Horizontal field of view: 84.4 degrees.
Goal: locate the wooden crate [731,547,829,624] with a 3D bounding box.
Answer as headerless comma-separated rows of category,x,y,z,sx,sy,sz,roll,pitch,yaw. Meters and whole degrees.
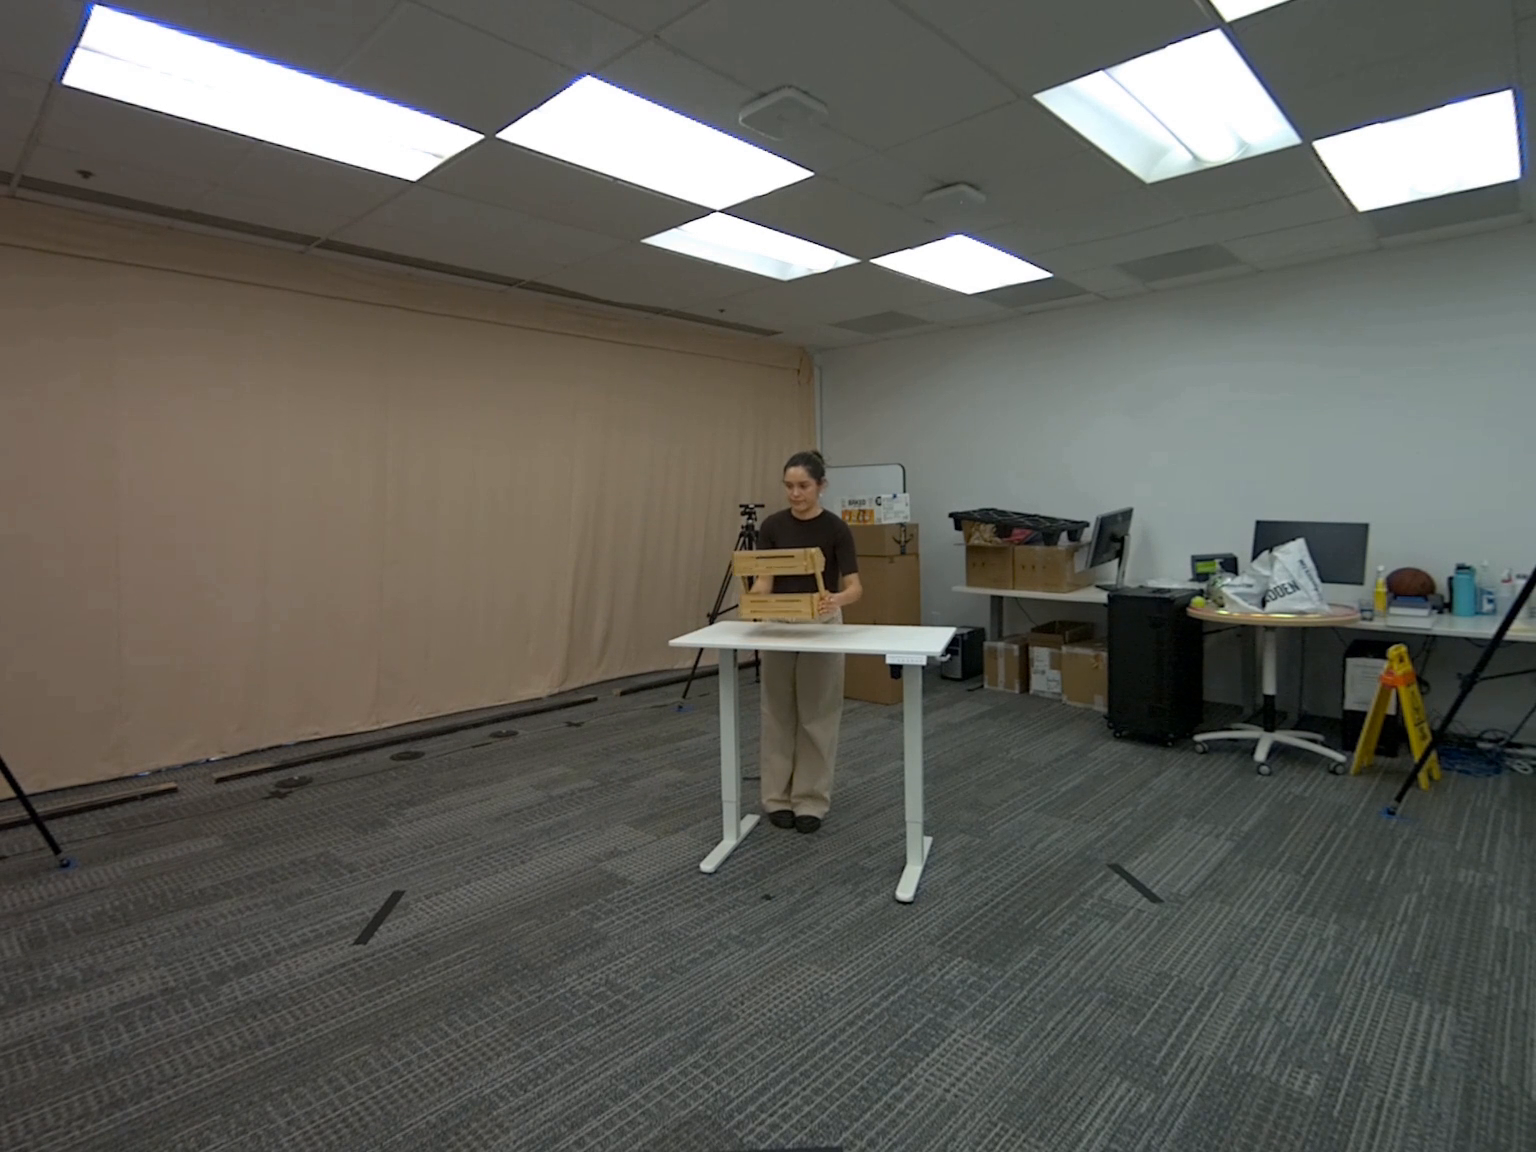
wooden crate,0.056,0.025,3.267,0.332,0.273,0.295,-2,1,24
